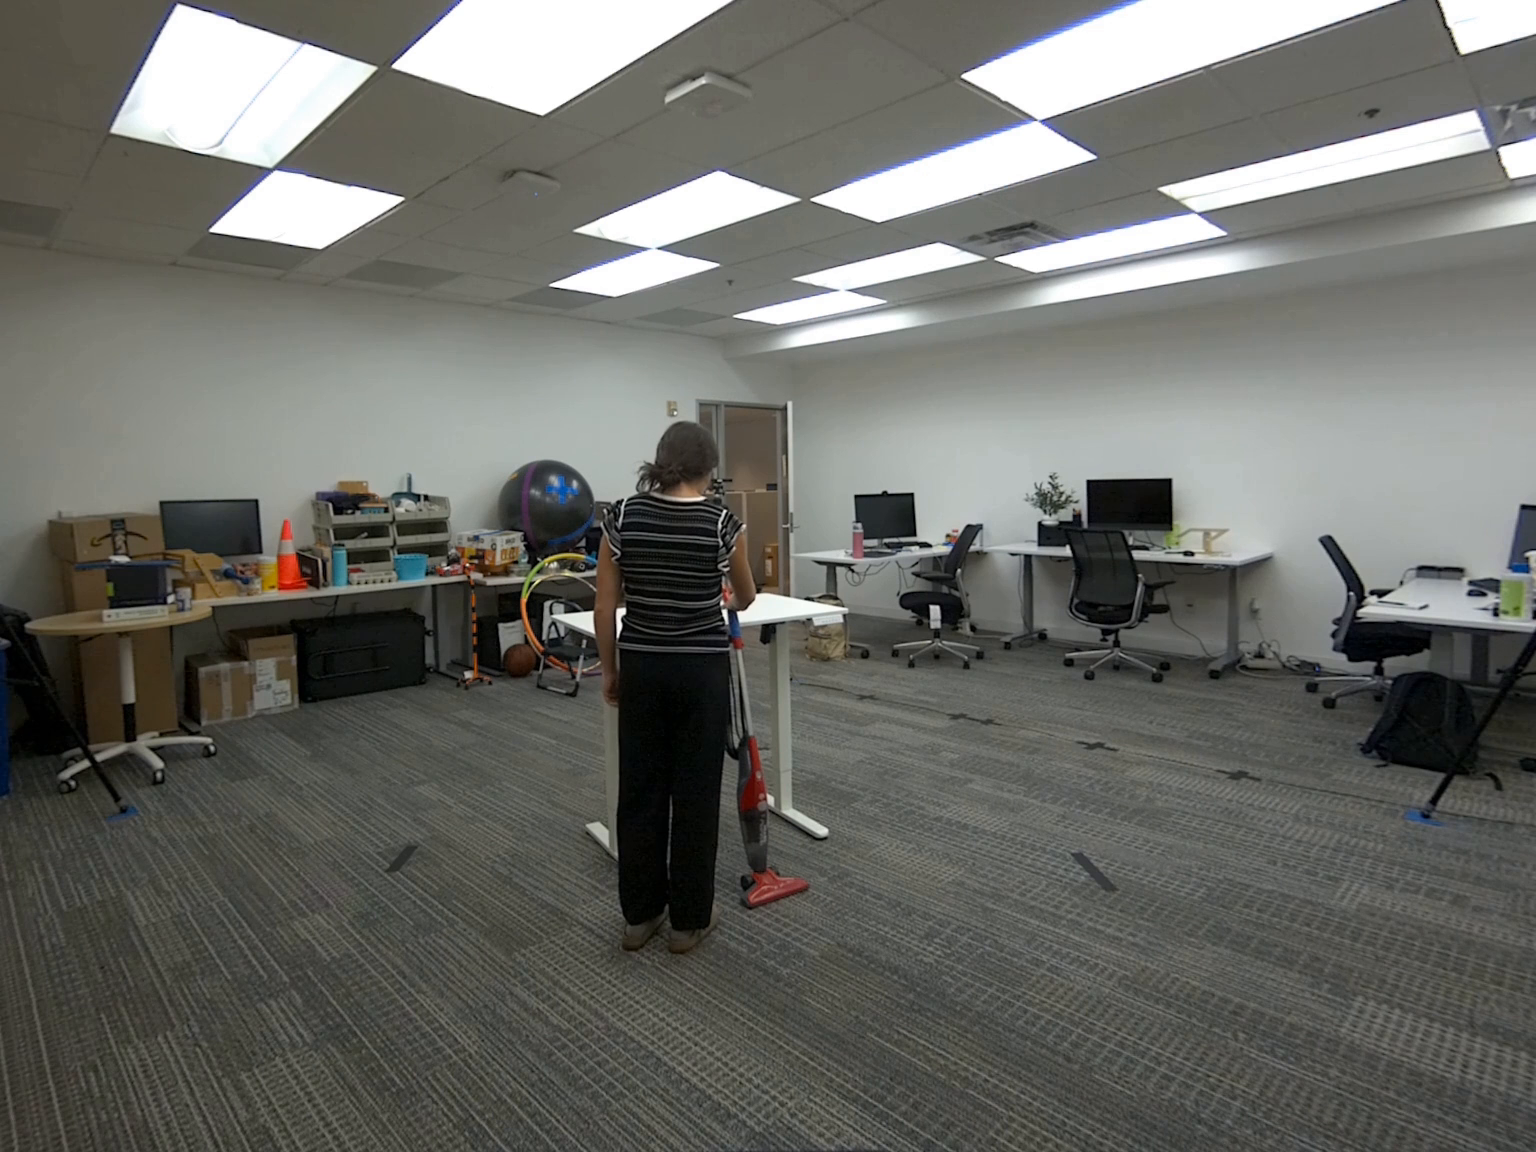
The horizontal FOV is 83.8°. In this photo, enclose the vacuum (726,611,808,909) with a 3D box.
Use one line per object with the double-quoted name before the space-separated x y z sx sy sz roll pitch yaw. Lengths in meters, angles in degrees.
"vacuum" -0.078 0.560 2.981 0.246 1.060 0.146 -3 -12 -33
